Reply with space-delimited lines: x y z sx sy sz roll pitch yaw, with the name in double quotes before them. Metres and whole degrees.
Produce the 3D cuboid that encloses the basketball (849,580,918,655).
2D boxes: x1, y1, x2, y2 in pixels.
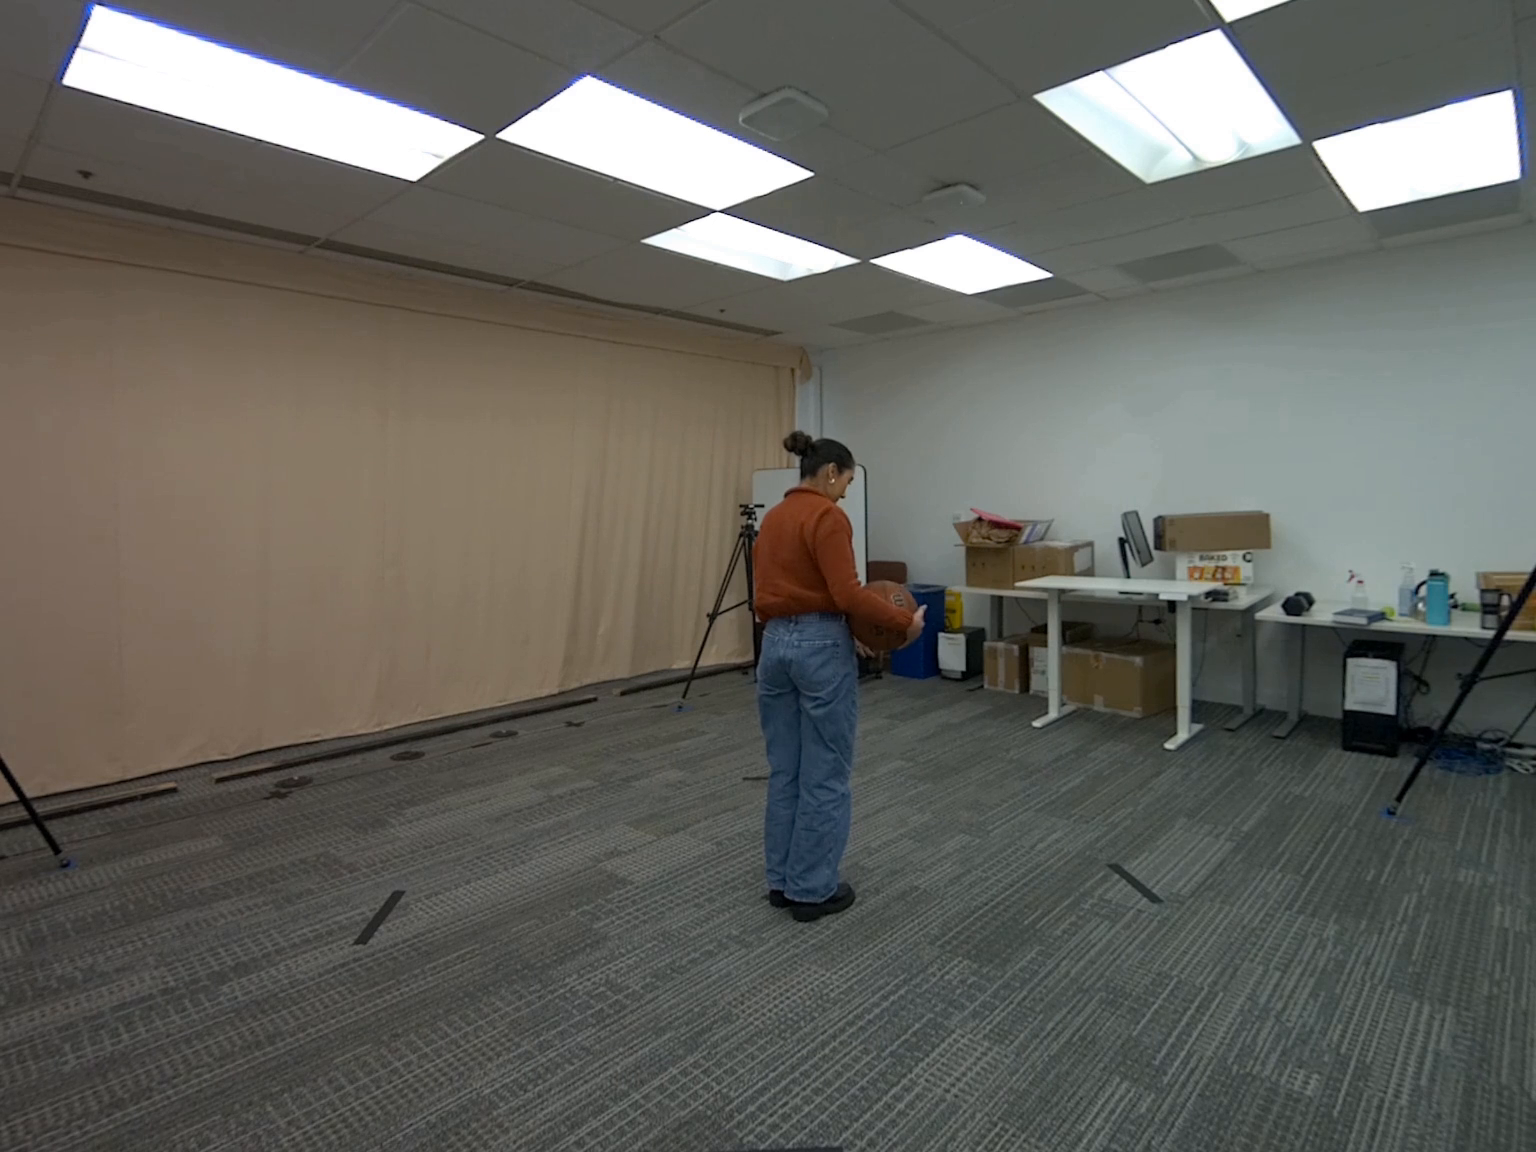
"basketball" 0.392 0.132 2.848 0.236 0.235 0.237 -1 4 -2
